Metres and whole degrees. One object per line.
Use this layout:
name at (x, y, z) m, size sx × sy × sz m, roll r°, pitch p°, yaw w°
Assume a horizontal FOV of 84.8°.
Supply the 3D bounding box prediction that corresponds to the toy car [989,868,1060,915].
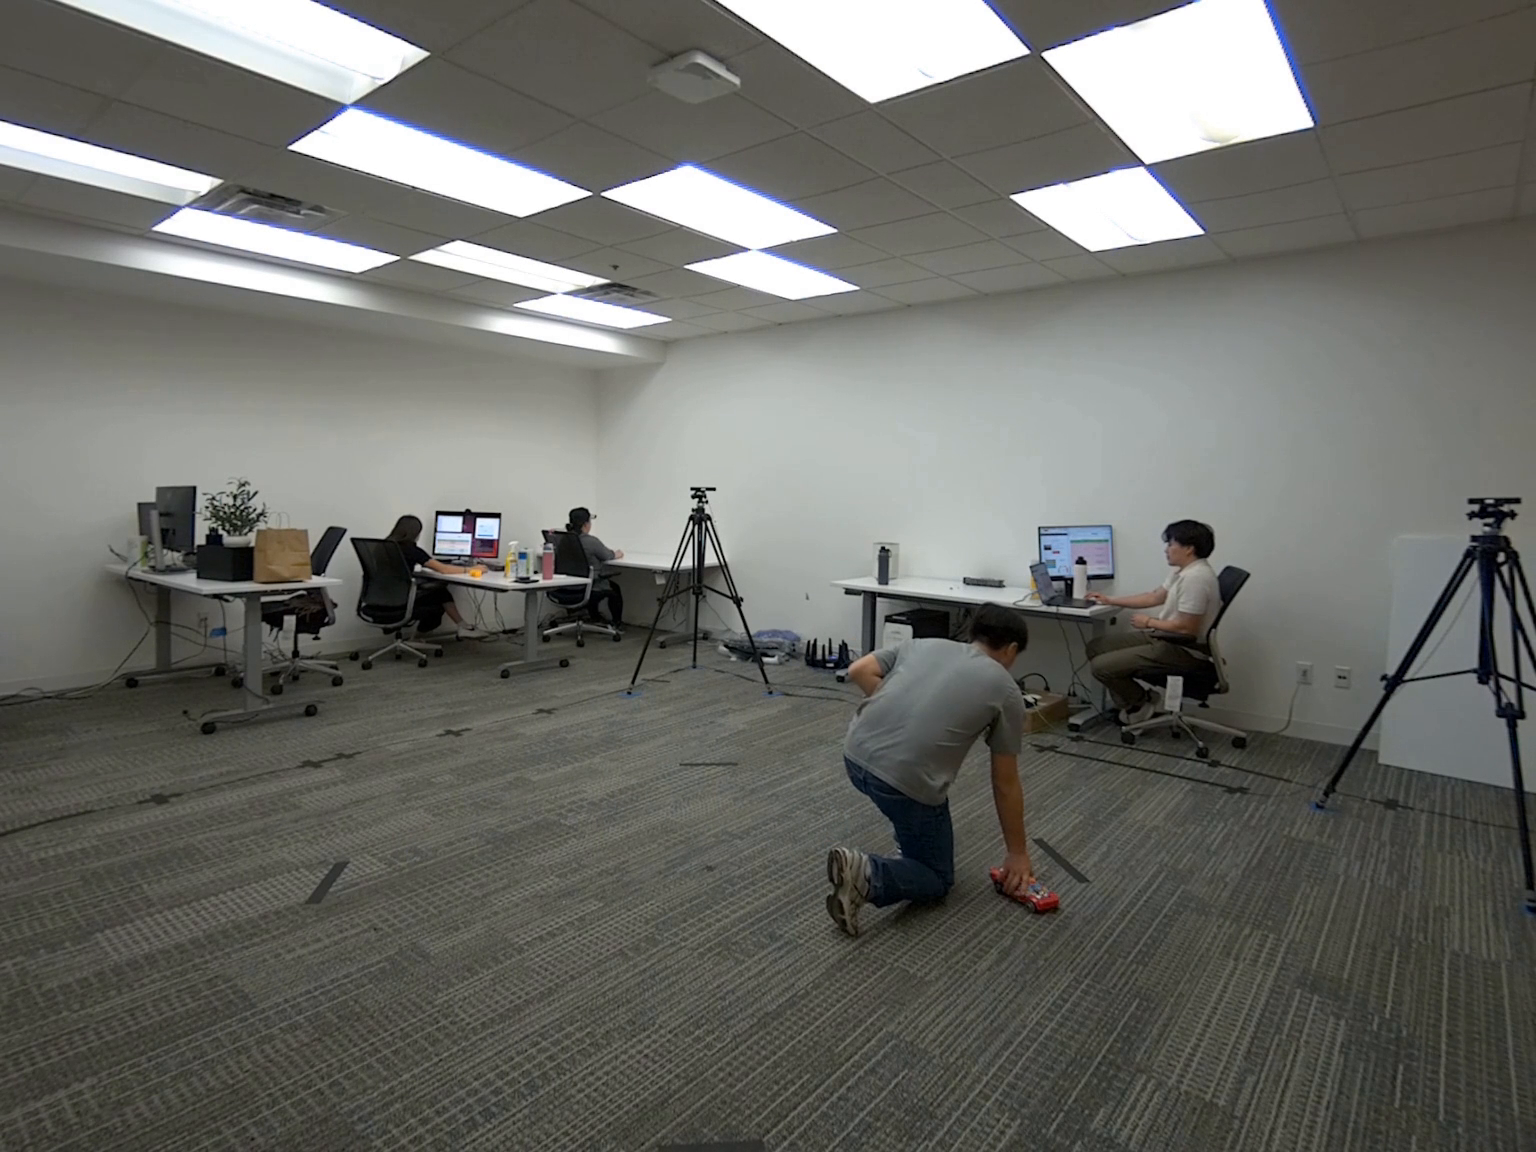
toy car at (0.874, 1.081, 2.948) m, size 0.127 × 0.082 × 0.264 m, roll -3°, pitch 17°, yaw -29°
